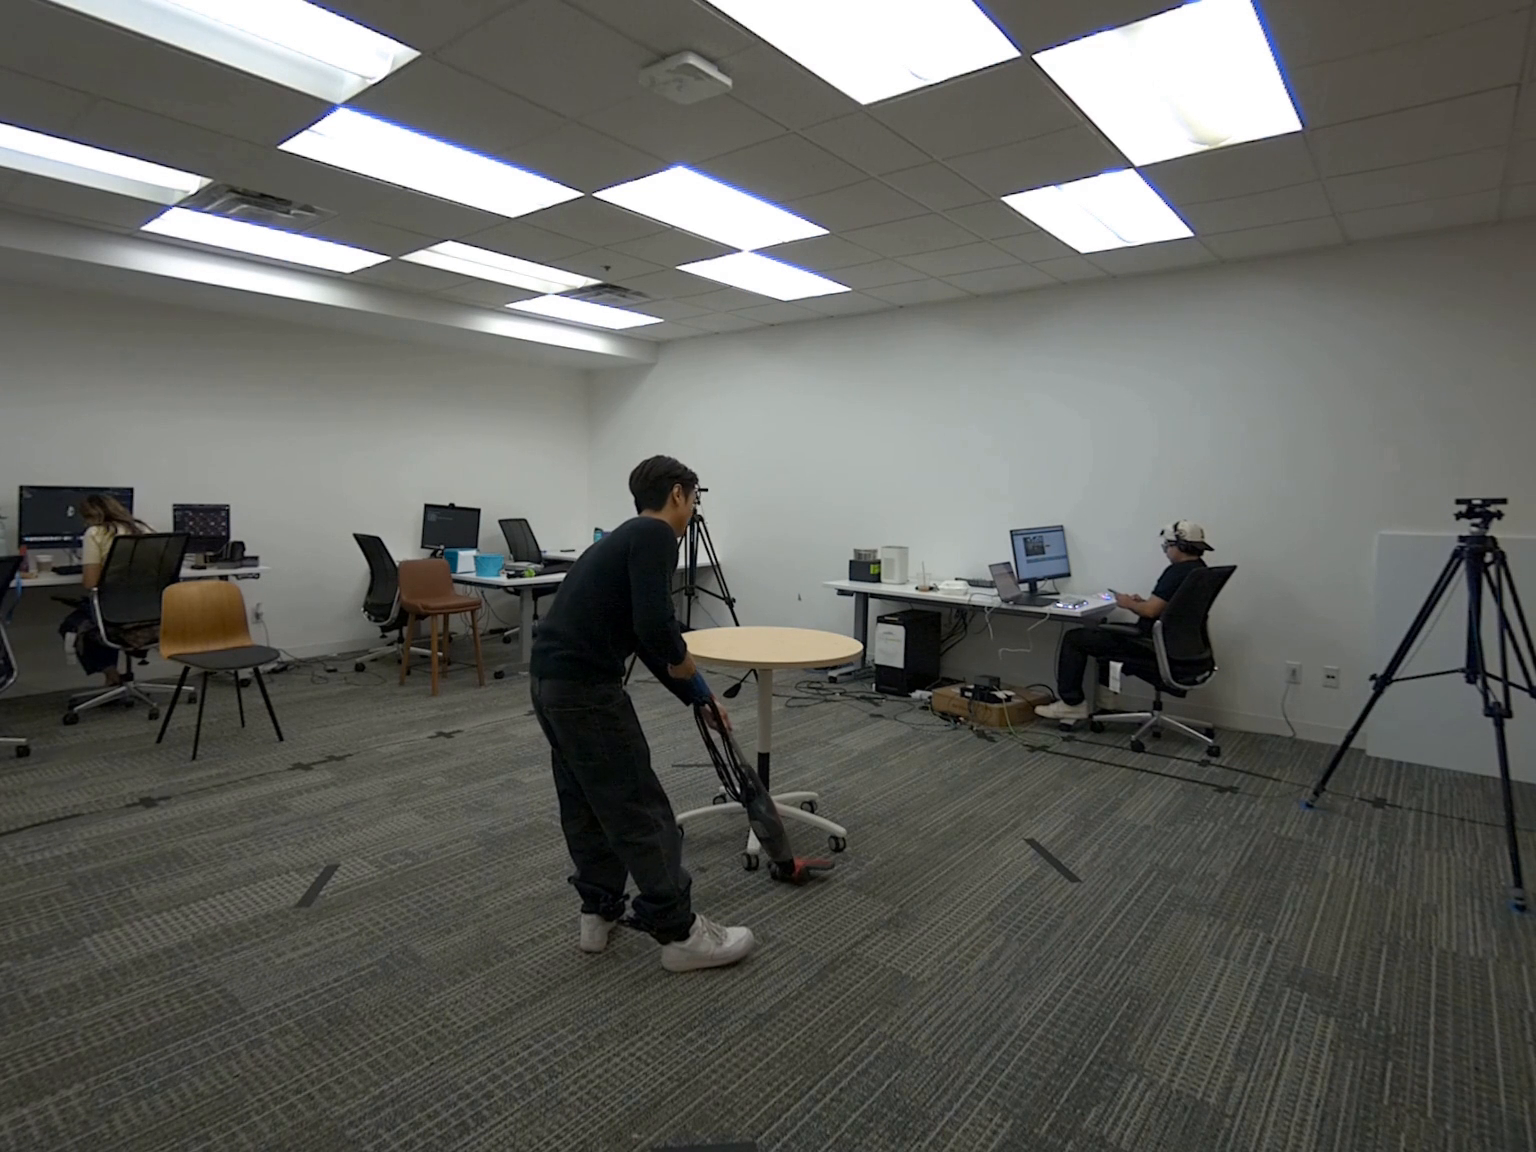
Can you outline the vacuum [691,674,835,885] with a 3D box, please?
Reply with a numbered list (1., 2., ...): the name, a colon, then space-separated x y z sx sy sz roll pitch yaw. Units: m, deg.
1. vacuum: -0.098 0.663 2.813 0.259 1.014 0.145 -6 35 31
